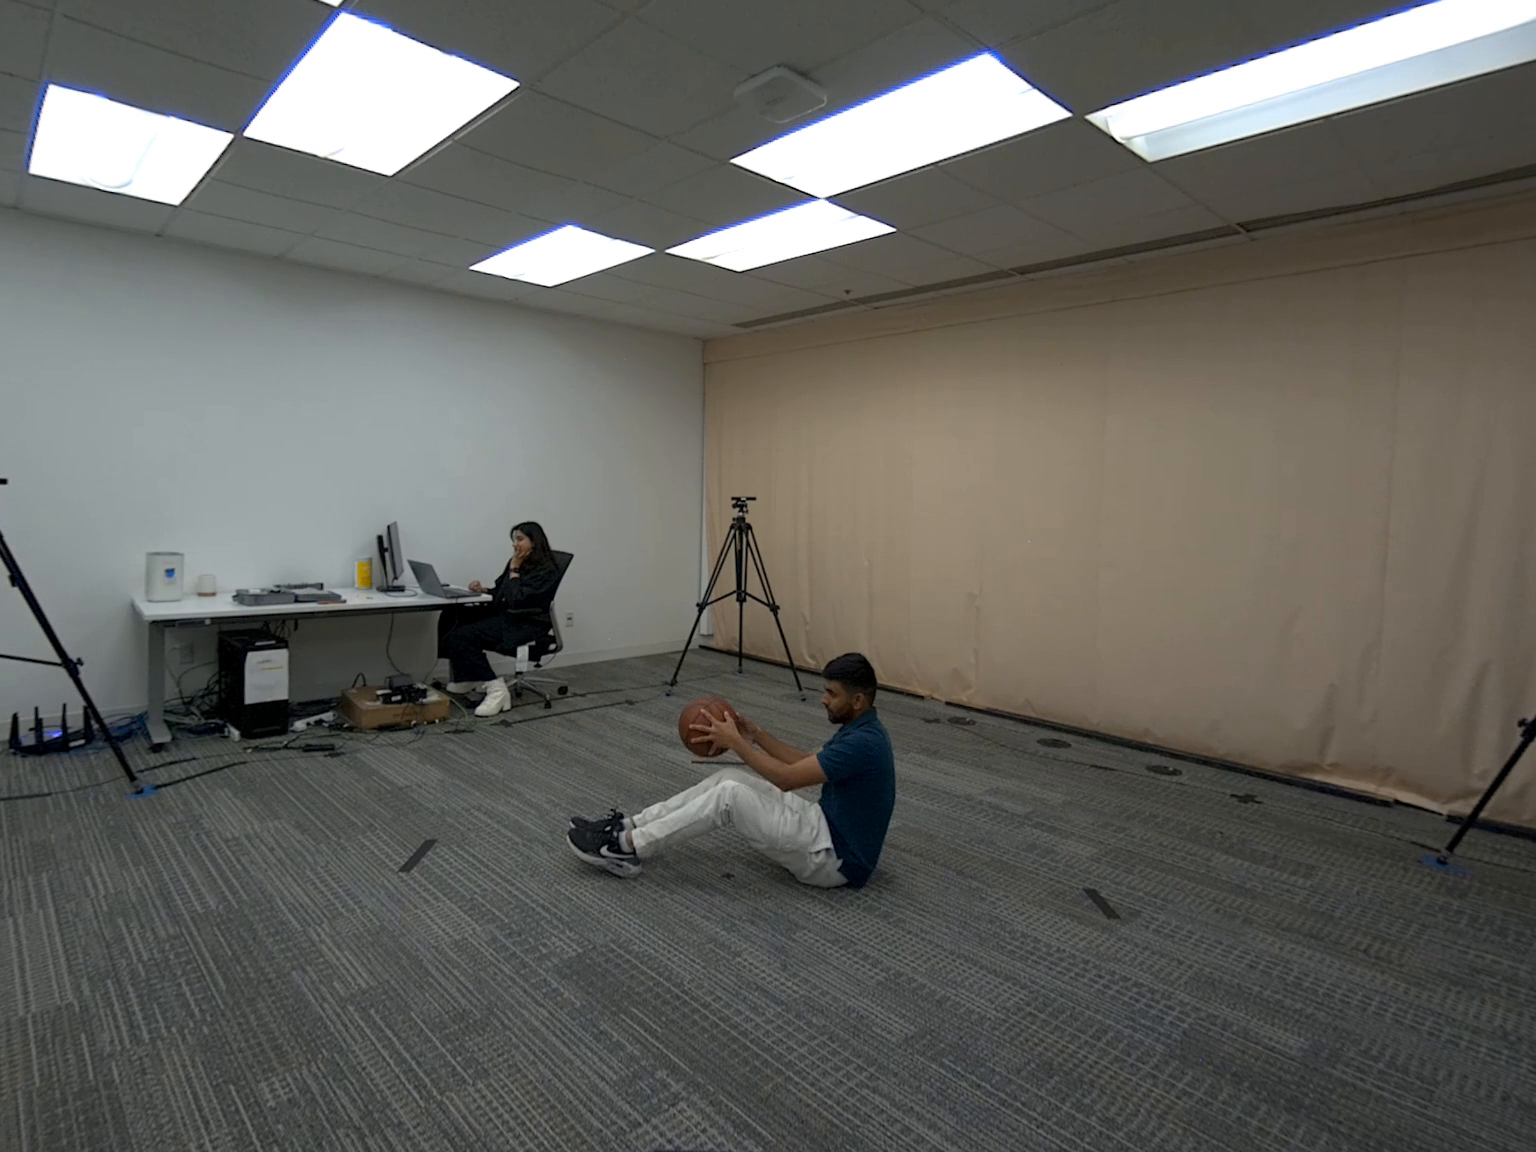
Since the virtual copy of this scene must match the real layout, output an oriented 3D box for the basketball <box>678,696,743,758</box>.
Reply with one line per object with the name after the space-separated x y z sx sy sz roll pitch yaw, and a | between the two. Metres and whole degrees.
-0.228 0.601 3.326 0.236 0.235 0.237 1 4 -1 | basketball
